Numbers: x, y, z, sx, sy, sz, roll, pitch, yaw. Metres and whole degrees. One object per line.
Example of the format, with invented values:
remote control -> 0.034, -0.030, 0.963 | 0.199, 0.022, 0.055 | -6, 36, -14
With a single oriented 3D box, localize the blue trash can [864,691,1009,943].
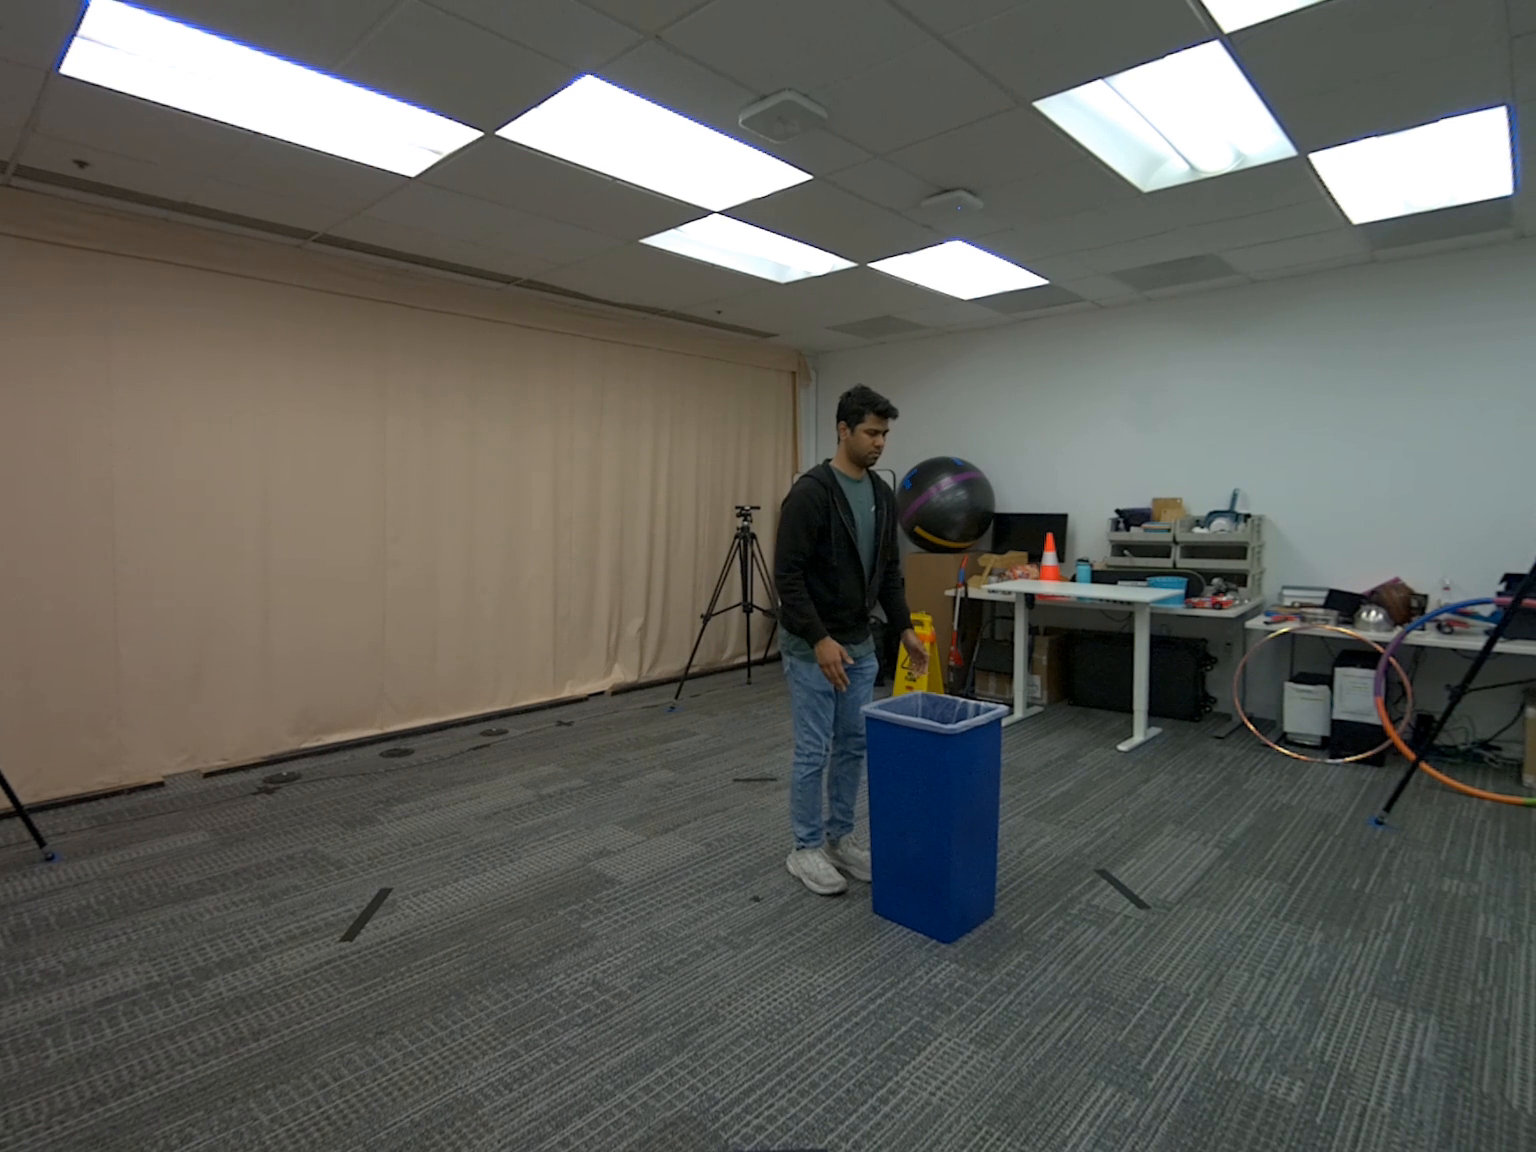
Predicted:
blue trash can -> 0.569, 0.797, 2.842 | 0.390, 0.712, 0.362 | 2, 4, 45
